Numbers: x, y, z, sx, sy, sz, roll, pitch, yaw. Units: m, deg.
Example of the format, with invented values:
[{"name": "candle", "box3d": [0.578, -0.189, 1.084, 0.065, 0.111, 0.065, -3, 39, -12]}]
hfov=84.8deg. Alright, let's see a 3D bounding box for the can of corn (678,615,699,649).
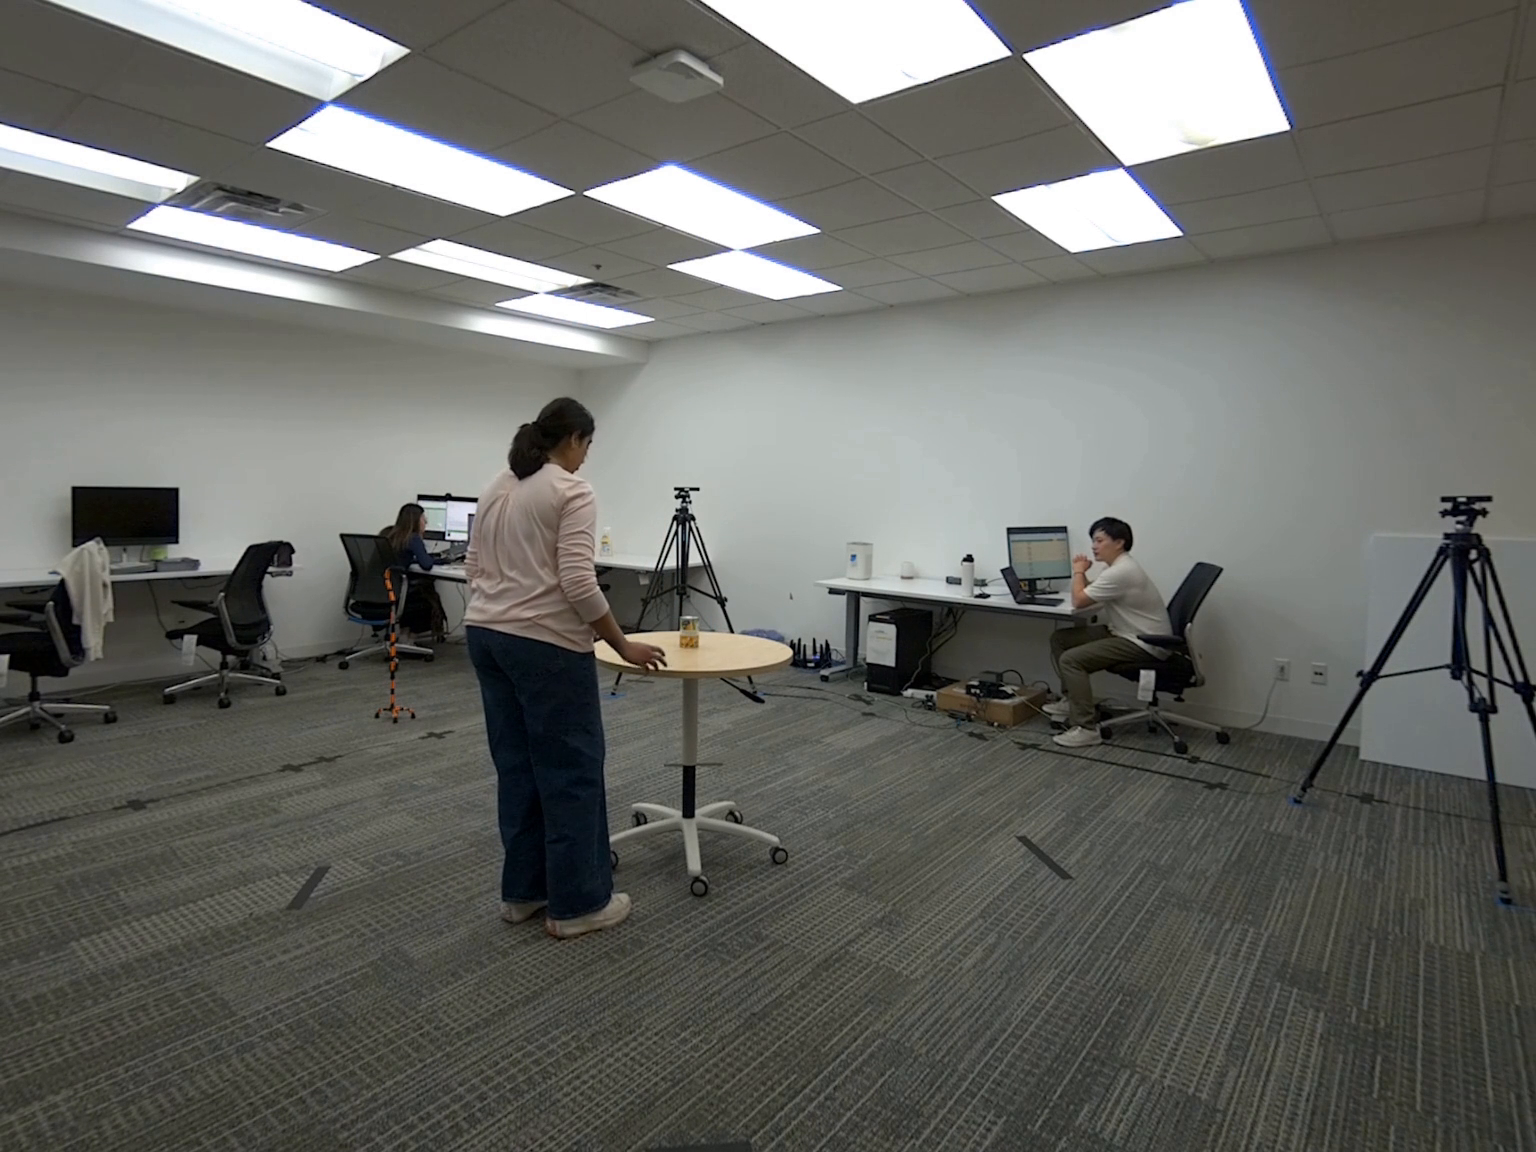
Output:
[{"name": "can of corn", "box3d": [-0.312, 0.211, 3.243, 0.074, 0.111, 0.074, 2, 4, -2]}]
